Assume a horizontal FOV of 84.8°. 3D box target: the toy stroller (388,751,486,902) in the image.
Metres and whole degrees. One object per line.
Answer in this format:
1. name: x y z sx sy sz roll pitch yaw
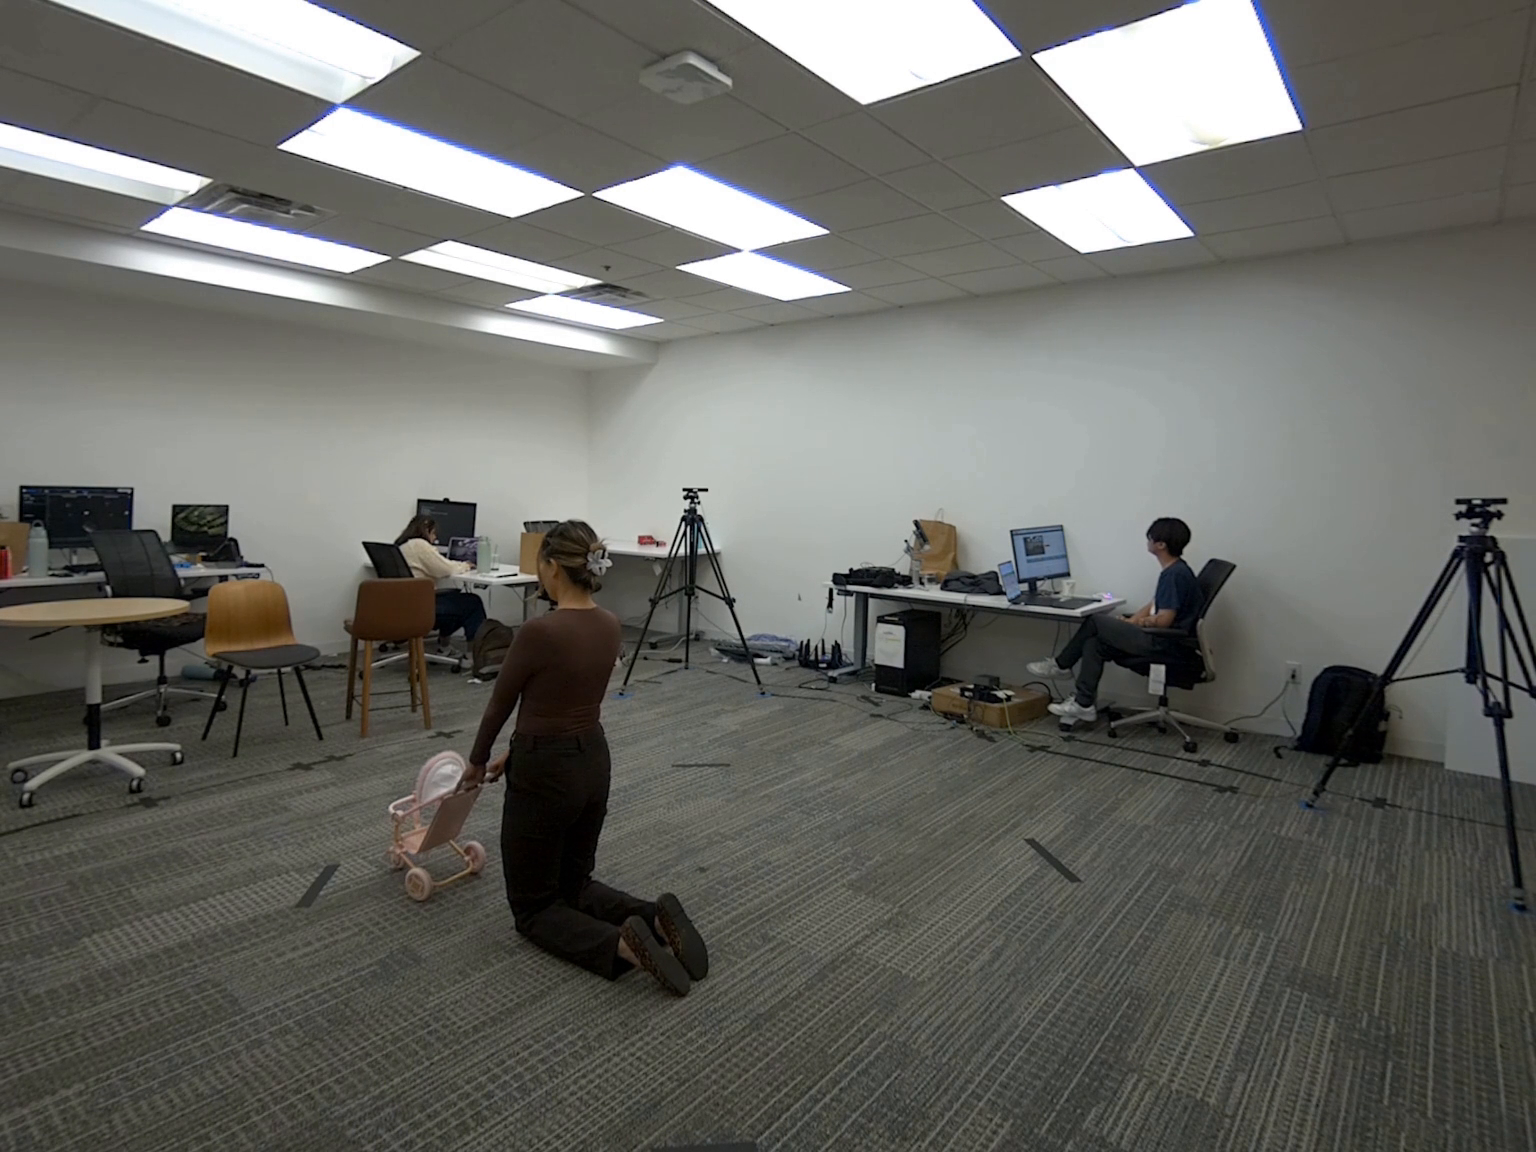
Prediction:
1. toy stroller: -1.171 0.846 2.970 0.354 0.531 0.273 24 15 30
